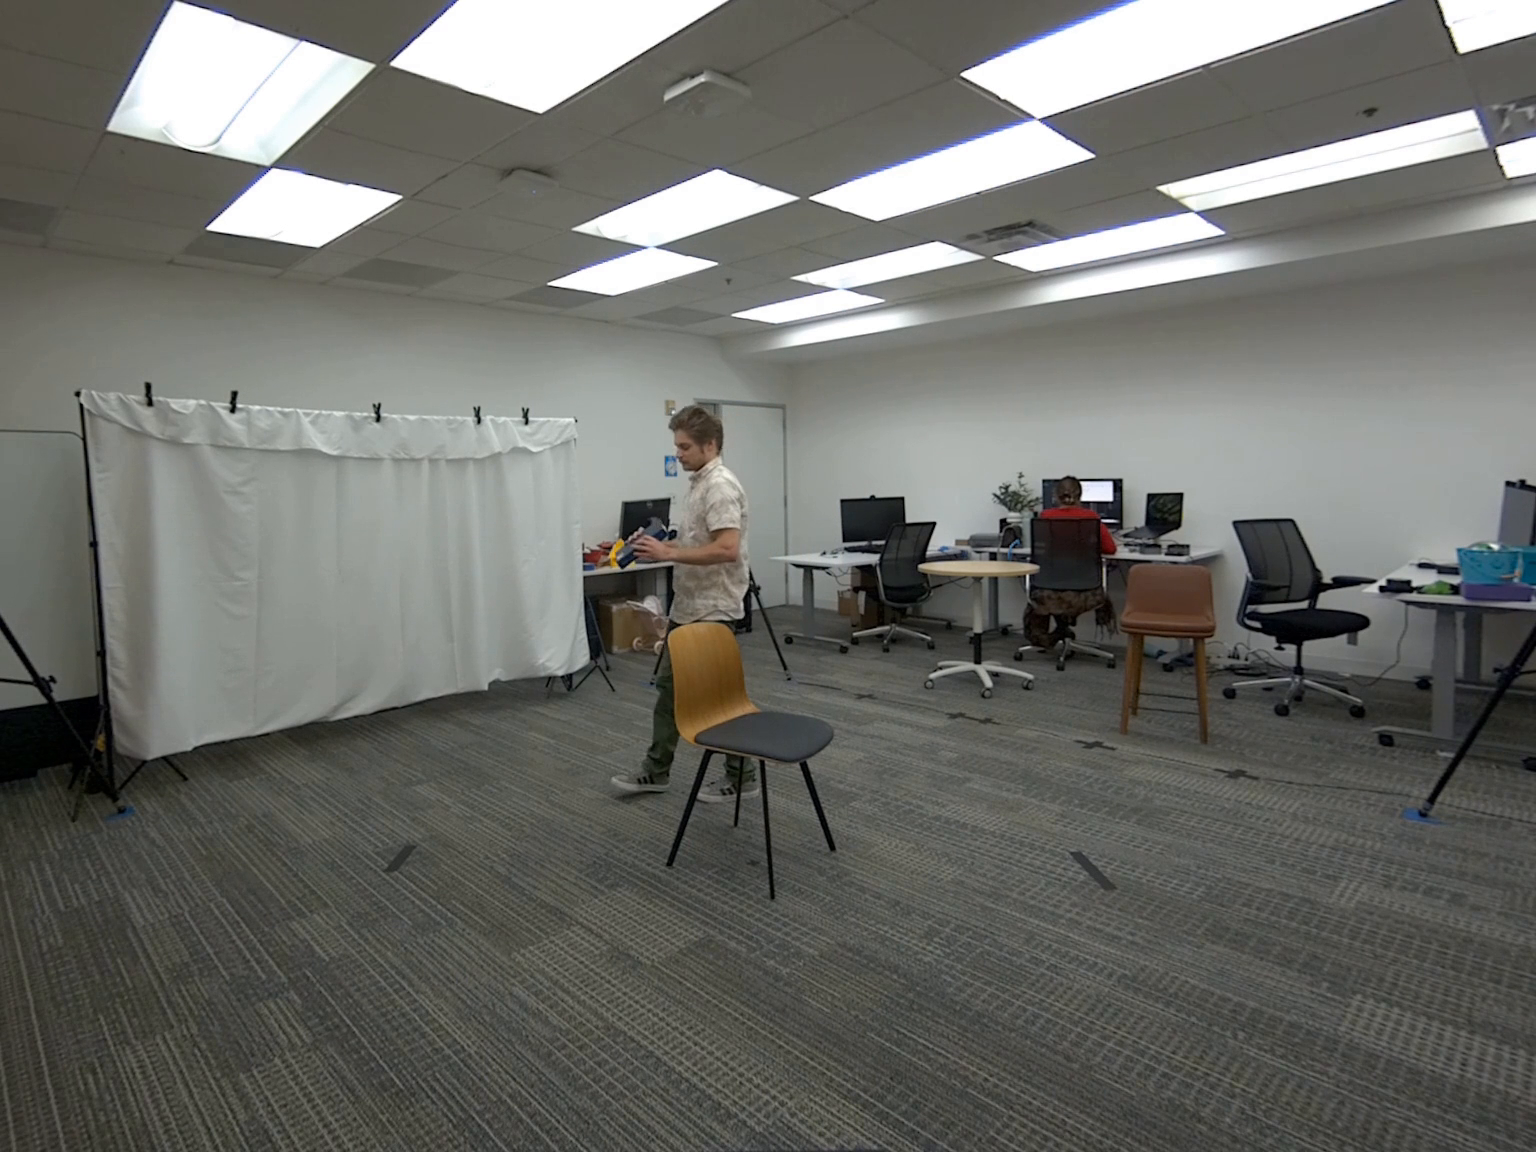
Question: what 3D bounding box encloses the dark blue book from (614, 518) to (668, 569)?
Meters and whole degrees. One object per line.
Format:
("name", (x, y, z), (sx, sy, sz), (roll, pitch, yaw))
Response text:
("dark blue book", (-0.539, -0.137, 3.625), (0.245, 0.044, 0.167), (-38, 20, 1))
